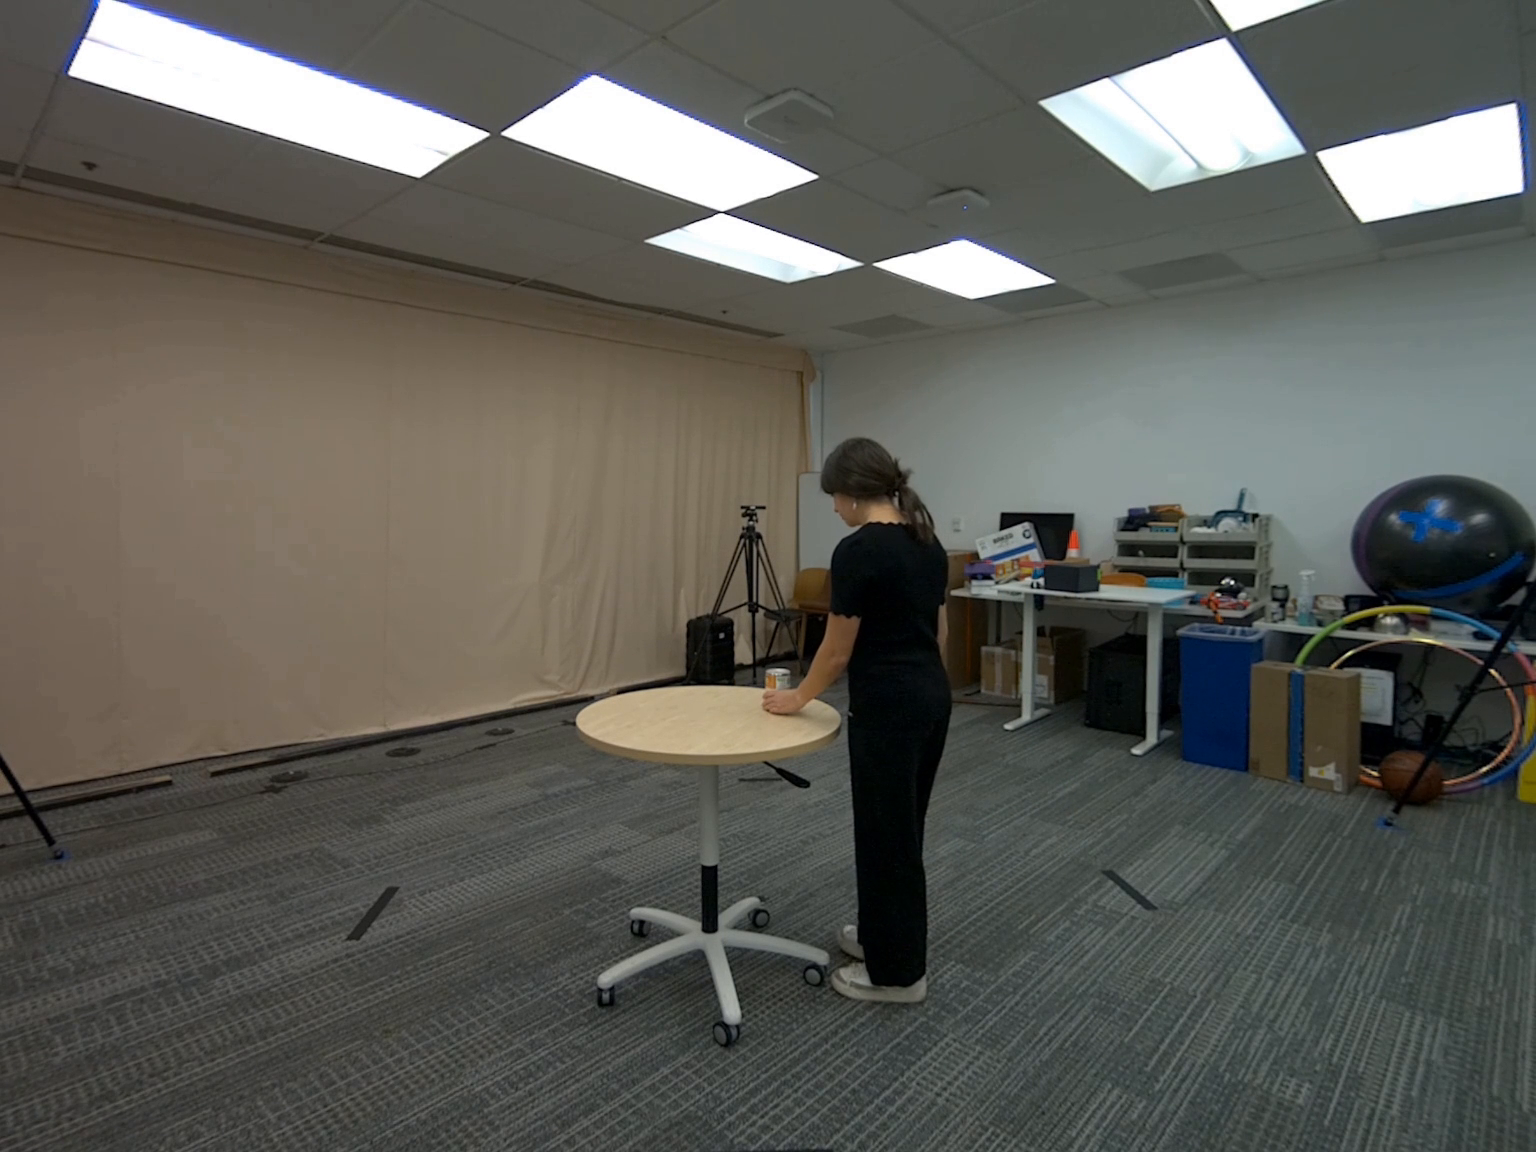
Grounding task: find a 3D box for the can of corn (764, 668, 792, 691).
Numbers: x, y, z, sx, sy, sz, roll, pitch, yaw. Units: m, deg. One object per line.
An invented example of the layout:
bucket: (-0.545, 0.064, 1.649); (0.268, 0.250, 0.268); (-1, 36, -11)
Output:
can of corn: (0.035, 0.343, 2.527); (0.074, 0.111, 0.074); (0, 5, -2)
